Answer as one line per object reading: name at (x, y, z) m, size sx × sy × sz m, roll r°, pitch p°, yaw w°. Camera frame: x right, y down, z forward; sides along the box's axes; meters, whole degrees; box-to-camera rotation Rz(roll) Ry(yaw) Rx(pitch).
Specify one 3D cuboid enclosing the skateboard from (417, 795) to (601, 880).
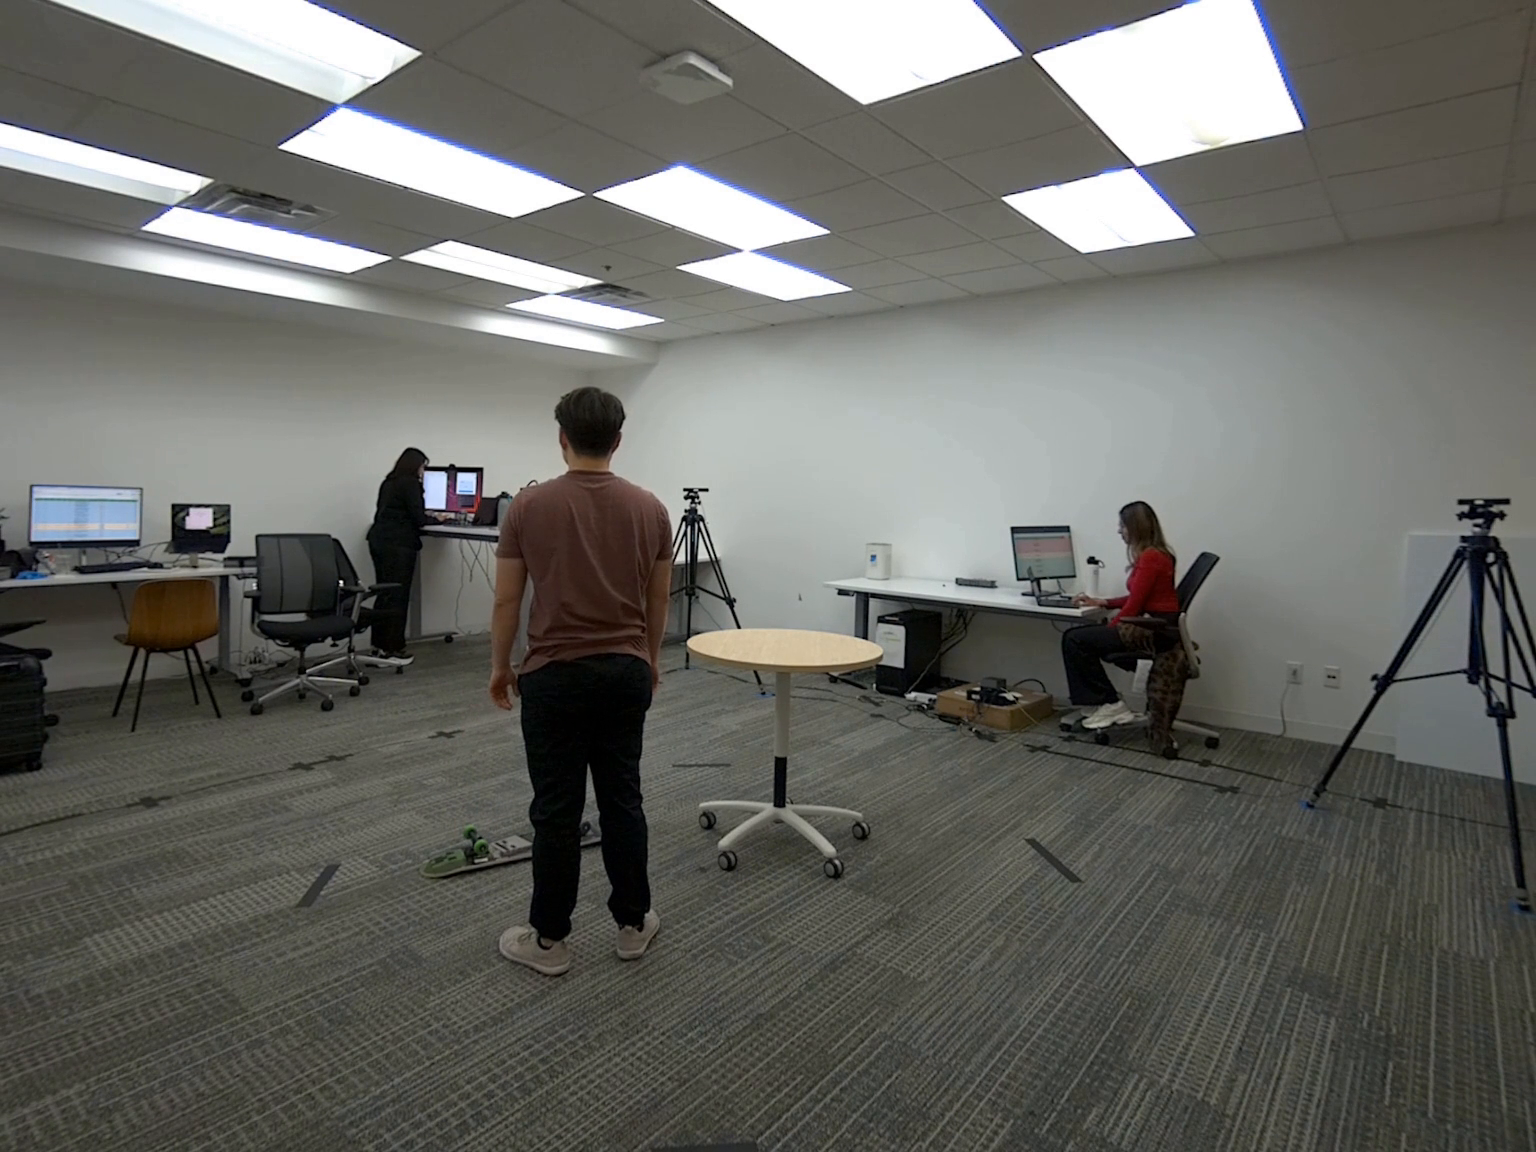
skateboard at (-0.921, 0.983, 3.235) m, size 0.764 × 0.110 × 0.199 m, roll -3°, pitch 6°, yaw -32°
